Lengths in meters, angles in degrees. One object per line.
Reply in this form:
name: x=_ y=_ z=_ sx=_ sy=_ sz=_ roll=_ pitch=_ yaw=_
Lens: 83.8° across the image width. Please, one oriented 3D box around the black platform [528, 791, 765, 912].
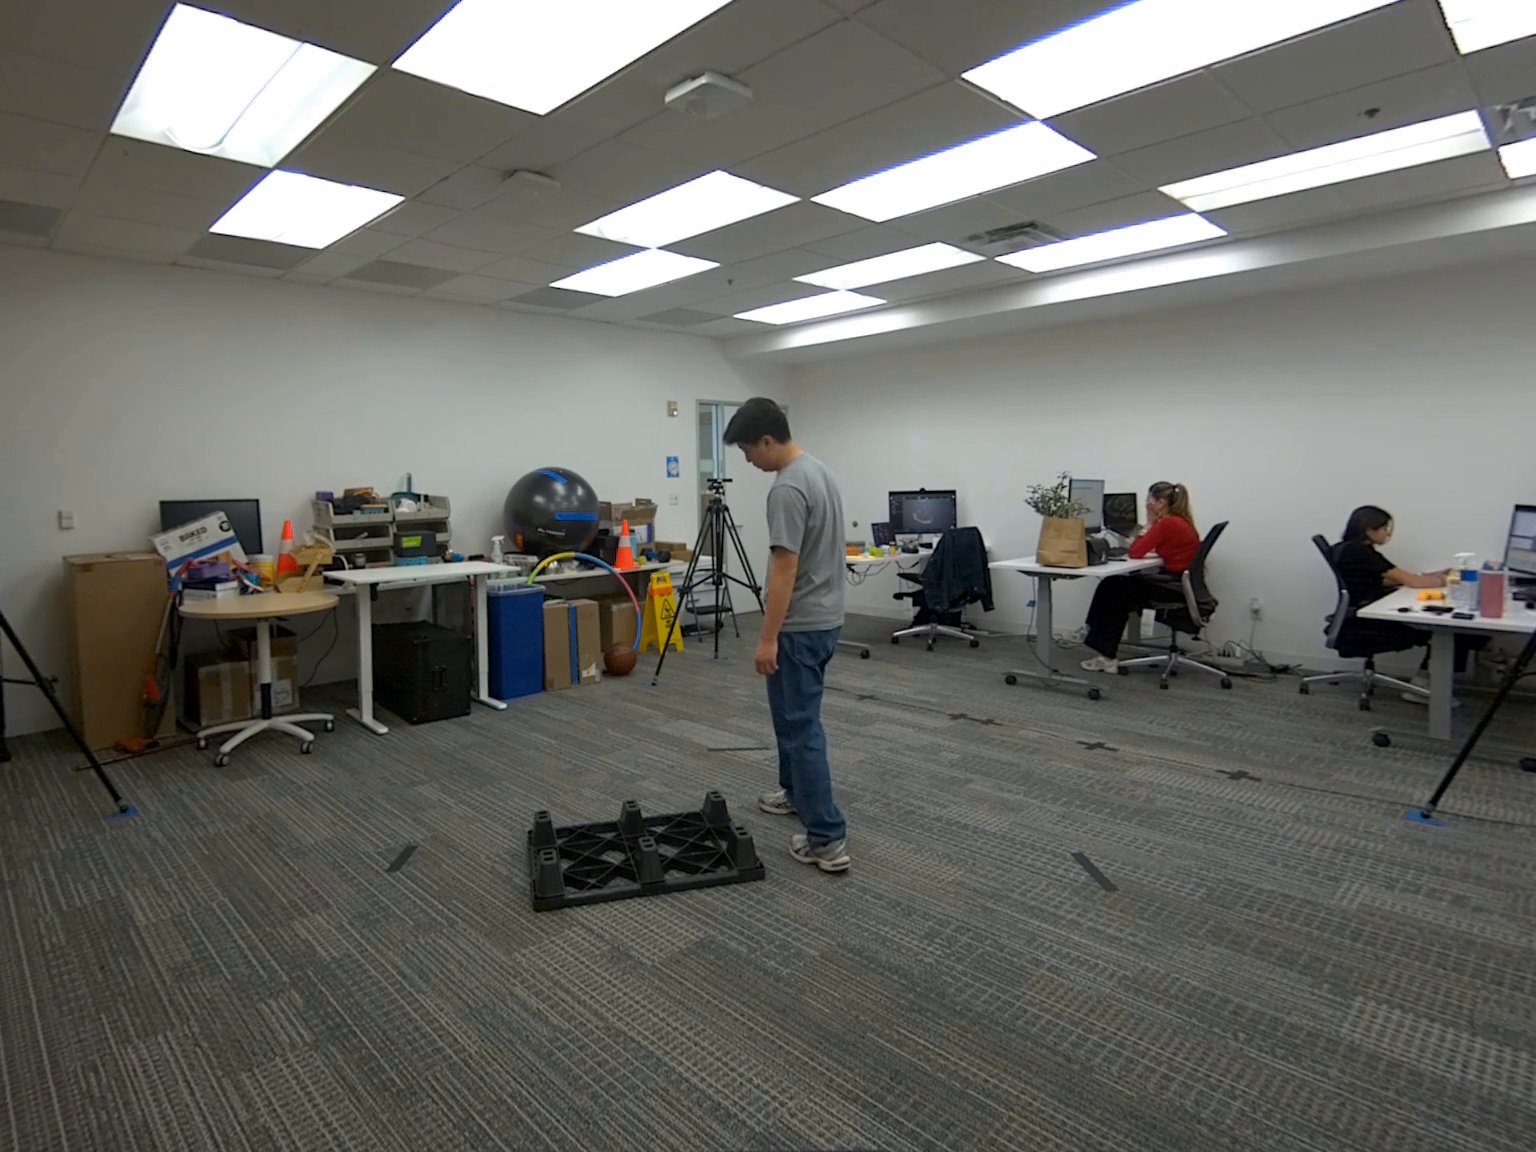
black platform: x=-0.472 y=0.979 z=3.155 sx=0.794 sy=0.143 sz=0.617 roll=-3 pitch=6 yaw=-16
